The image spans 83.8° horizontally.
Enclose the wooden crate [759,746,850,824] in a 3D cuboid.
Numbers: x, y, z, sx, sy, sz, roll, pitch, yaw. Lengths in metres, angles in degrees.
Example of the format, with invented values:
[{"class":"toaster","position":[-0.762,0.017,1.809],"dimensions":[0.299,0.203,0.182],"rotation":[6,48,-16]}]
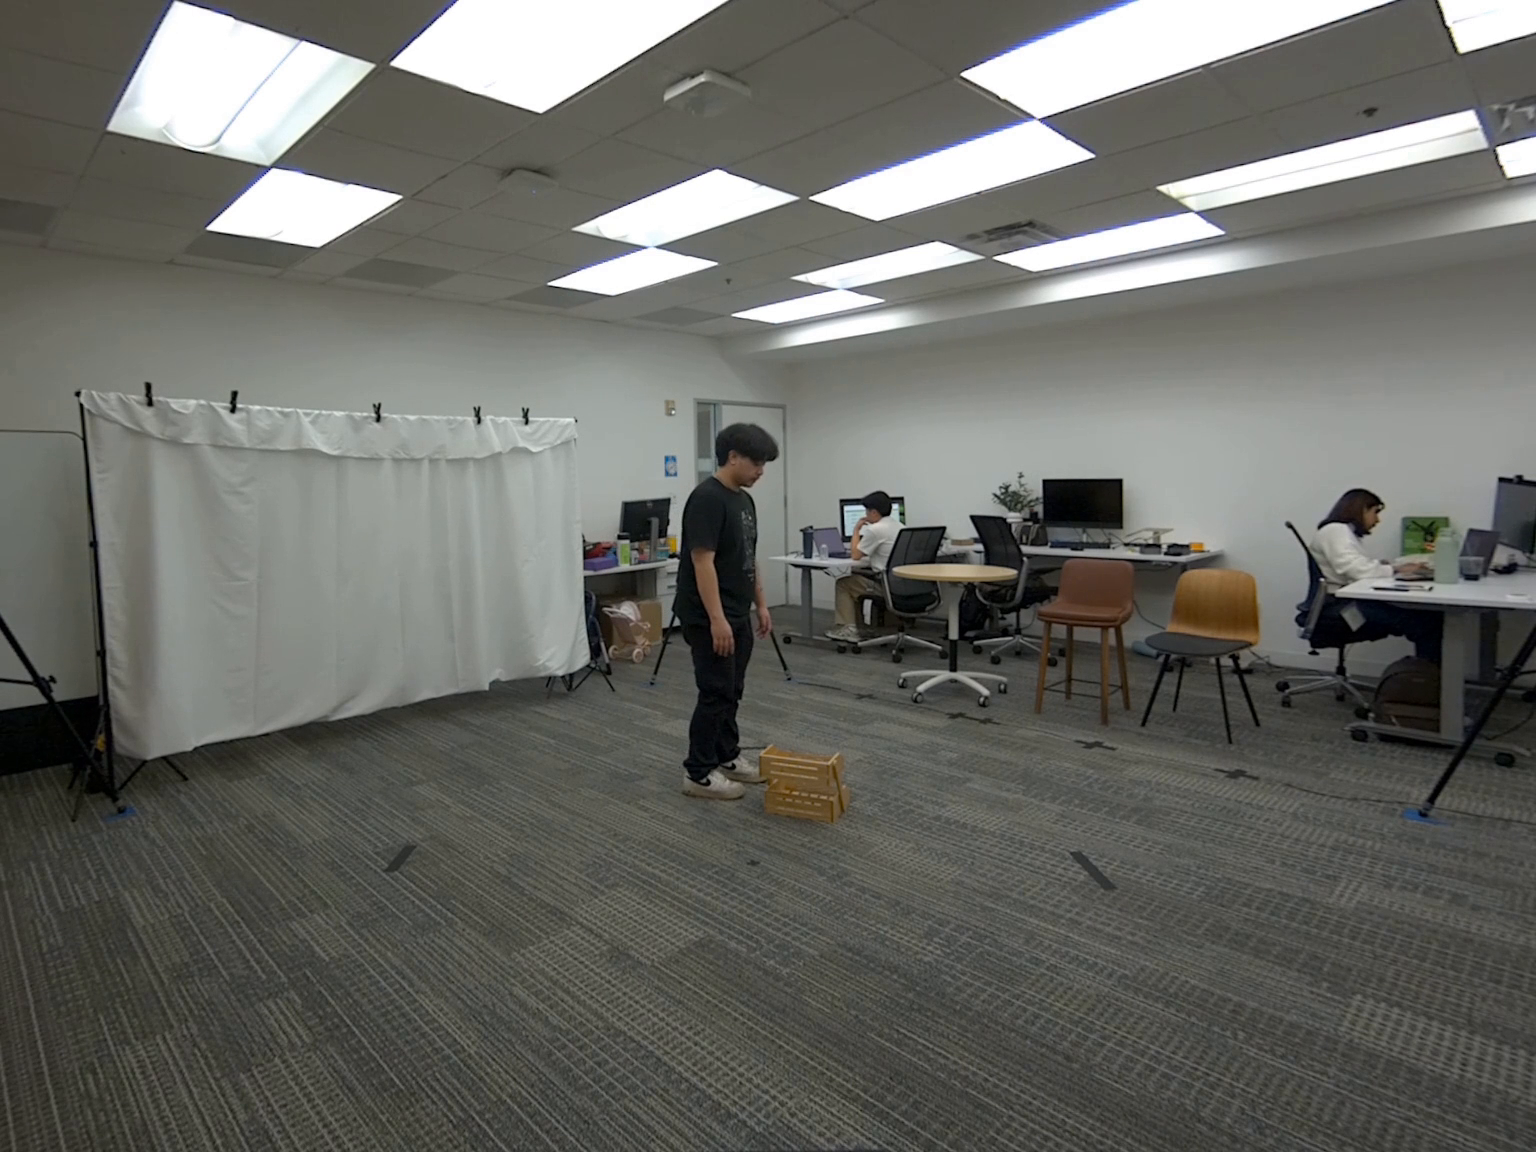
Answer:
[{"class":"wooden crate","position":[0.164,0.852,3.600],"dimensions":[0.332,0.272,0.297],"rotation":[1,6,23]}]
